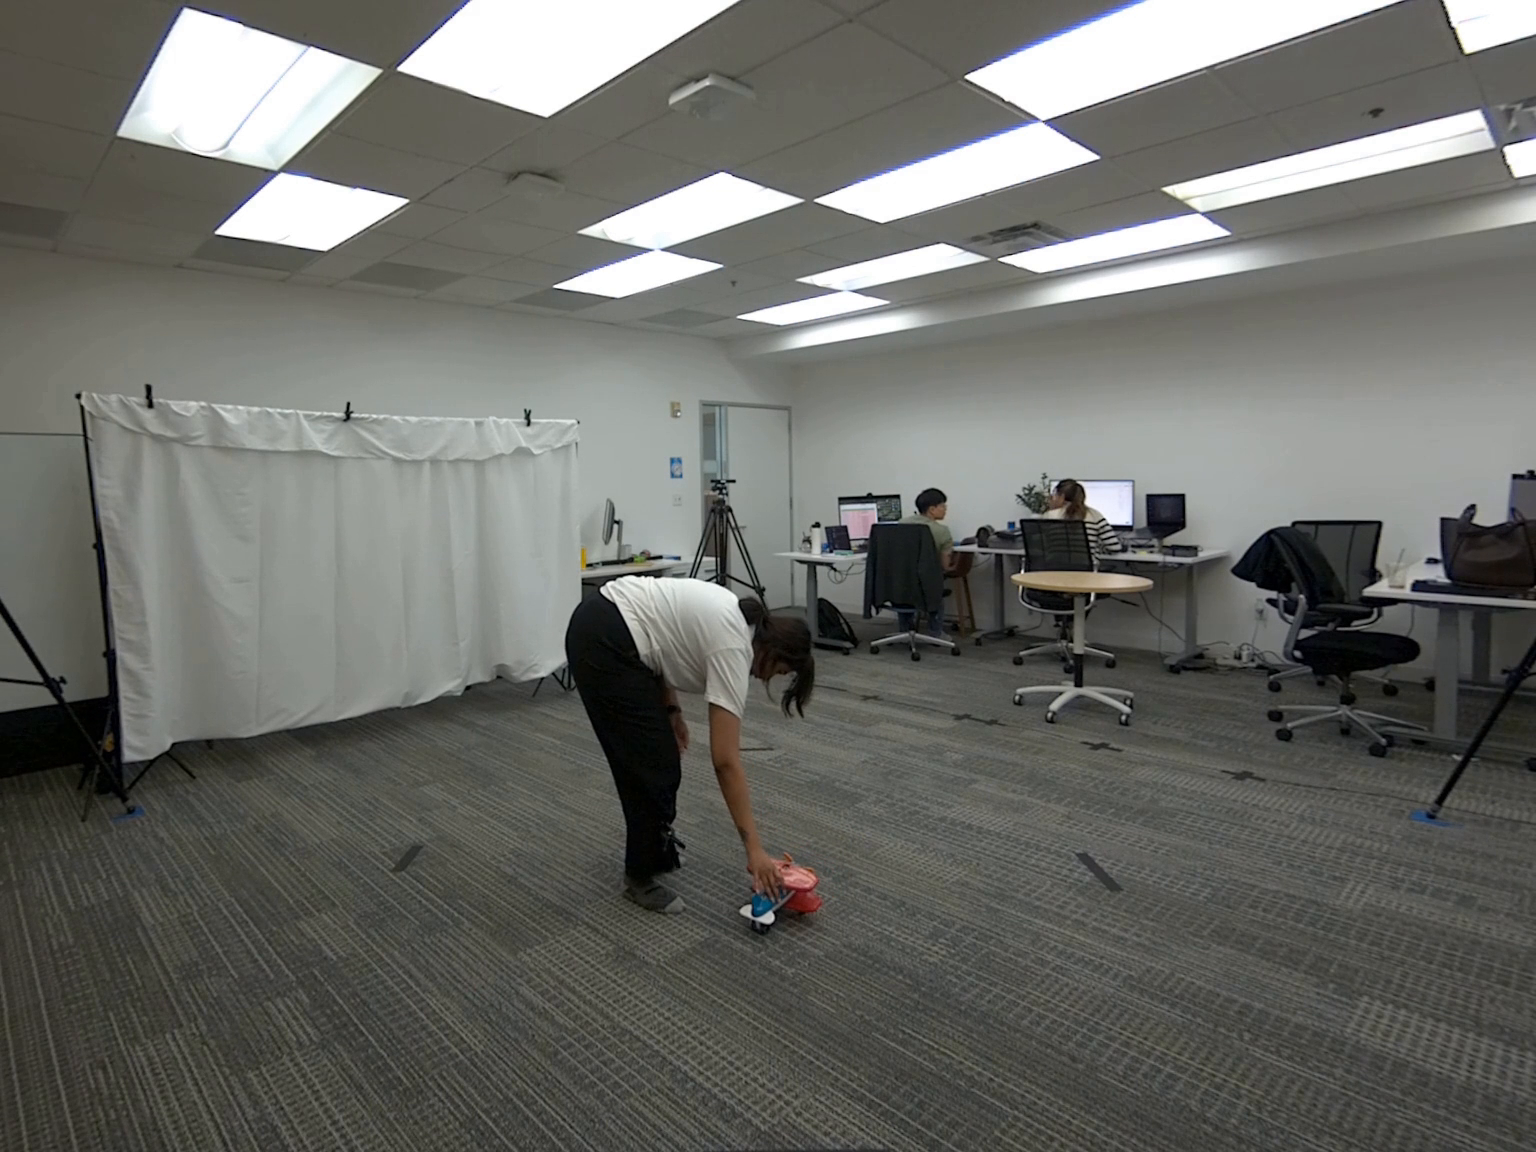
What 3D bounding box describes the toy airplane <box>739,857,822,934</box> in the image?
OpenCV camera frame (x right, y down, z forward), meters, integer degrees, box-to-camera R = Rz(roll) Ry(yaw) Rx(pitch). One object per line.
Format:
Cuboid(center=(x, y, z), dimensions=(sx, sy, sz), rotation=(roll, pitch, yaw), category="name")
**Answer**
Cuboid(center=(0.048, 1.010, 2.704), dimensions=(0.253, 0.156, 0.258), rotation=(1, 5, 9), category="toy airplane")
